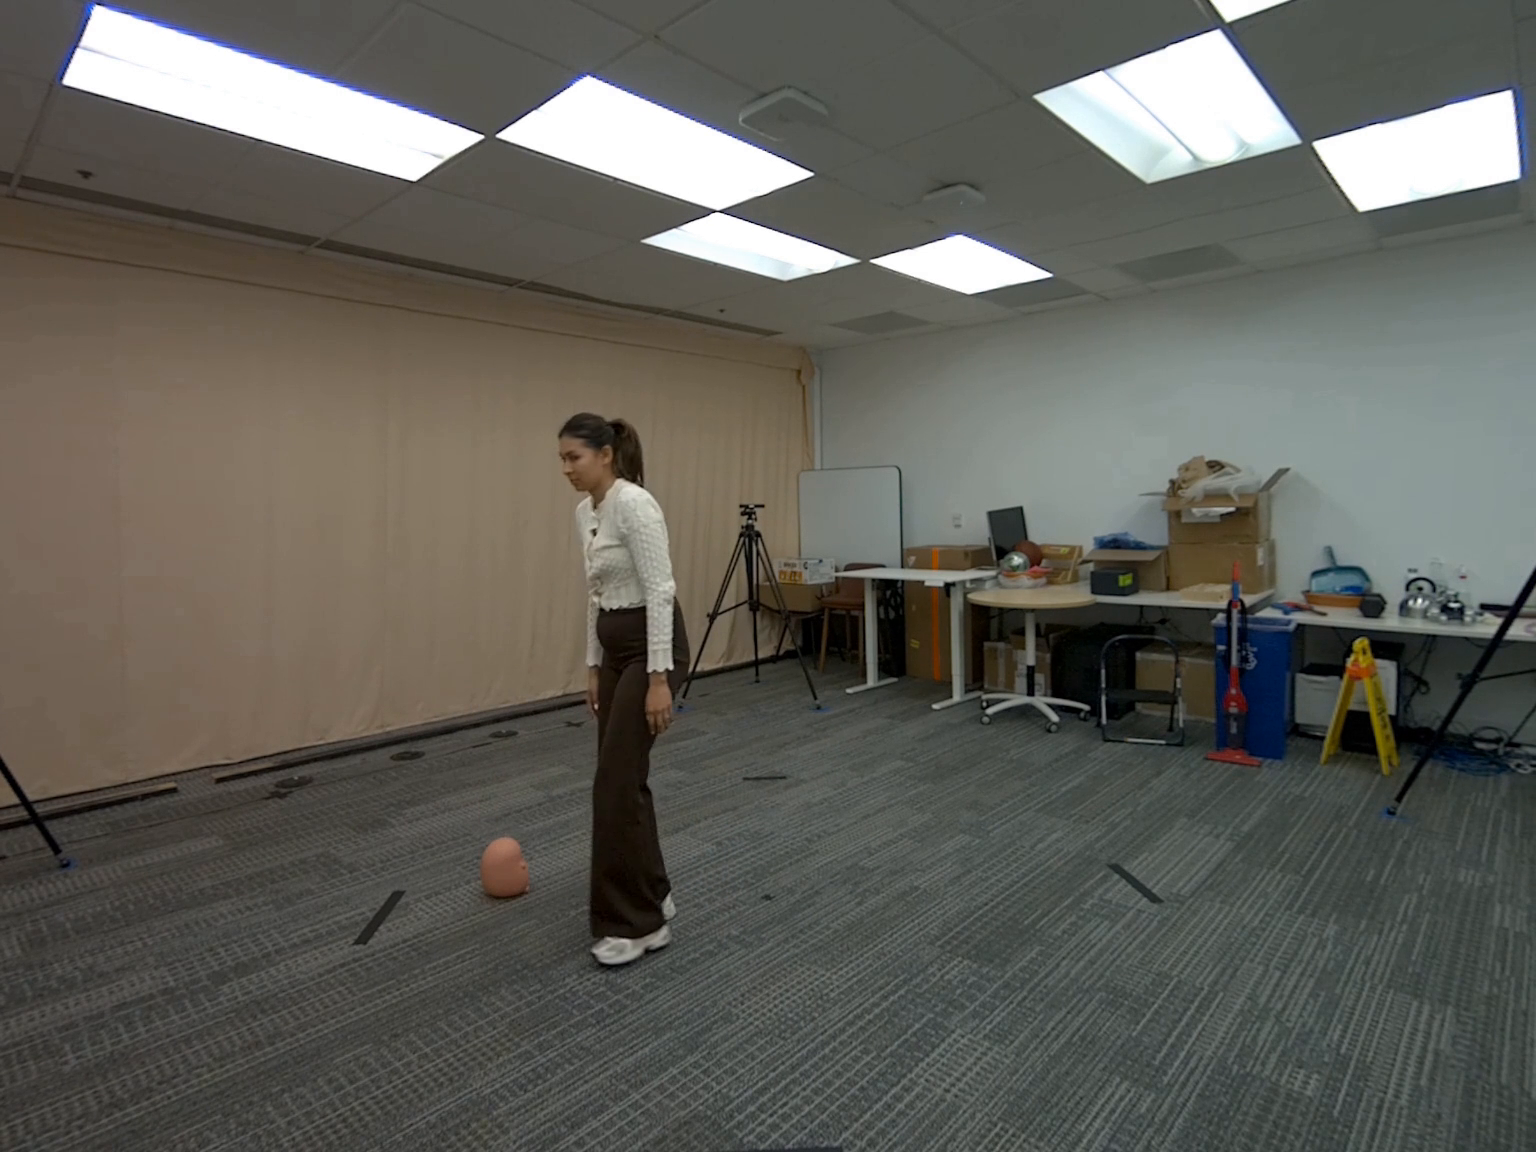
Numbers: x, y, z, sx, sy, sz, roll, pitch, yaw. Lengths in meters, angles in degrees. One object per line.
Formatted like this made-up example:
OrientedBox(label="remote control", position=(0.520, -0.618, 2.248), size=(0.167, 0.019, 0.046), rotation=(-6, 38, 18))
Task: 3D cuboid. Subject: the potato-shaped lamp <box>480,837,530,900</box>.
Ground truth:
OrientedBox(label="potato-shaped lamp", position=(-0.963, 1.058, 3.063), size=(0.167, 0.198, 0.169), rotation=(-3, 4, -31))
